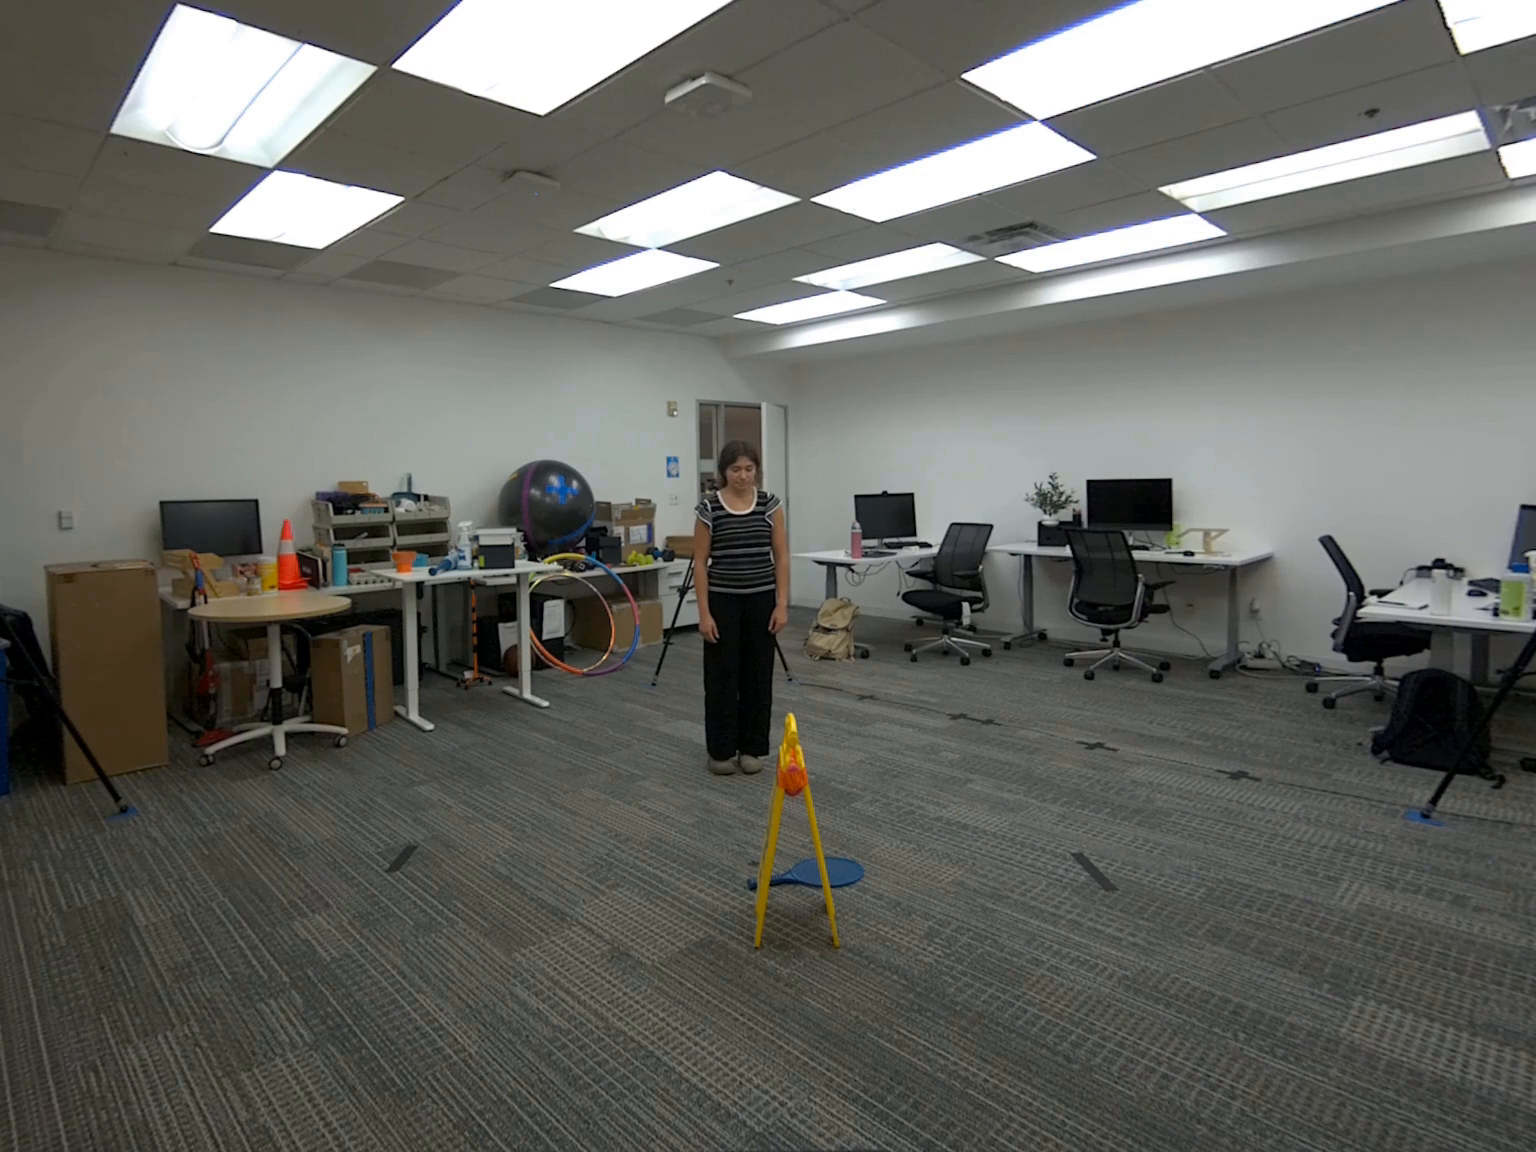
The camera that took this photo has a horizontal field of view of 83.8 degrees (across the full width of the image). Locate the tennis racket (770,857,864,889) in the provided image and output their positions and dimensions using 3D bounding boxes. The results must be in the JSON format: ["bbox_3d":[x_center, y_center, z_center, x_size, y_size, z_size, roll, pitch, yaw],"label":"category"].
[{"bbox_3d":[0.132,1.037,2.989,0.426,0.031,0.218,-1,7,-18],"label":"tennis racket"}]
